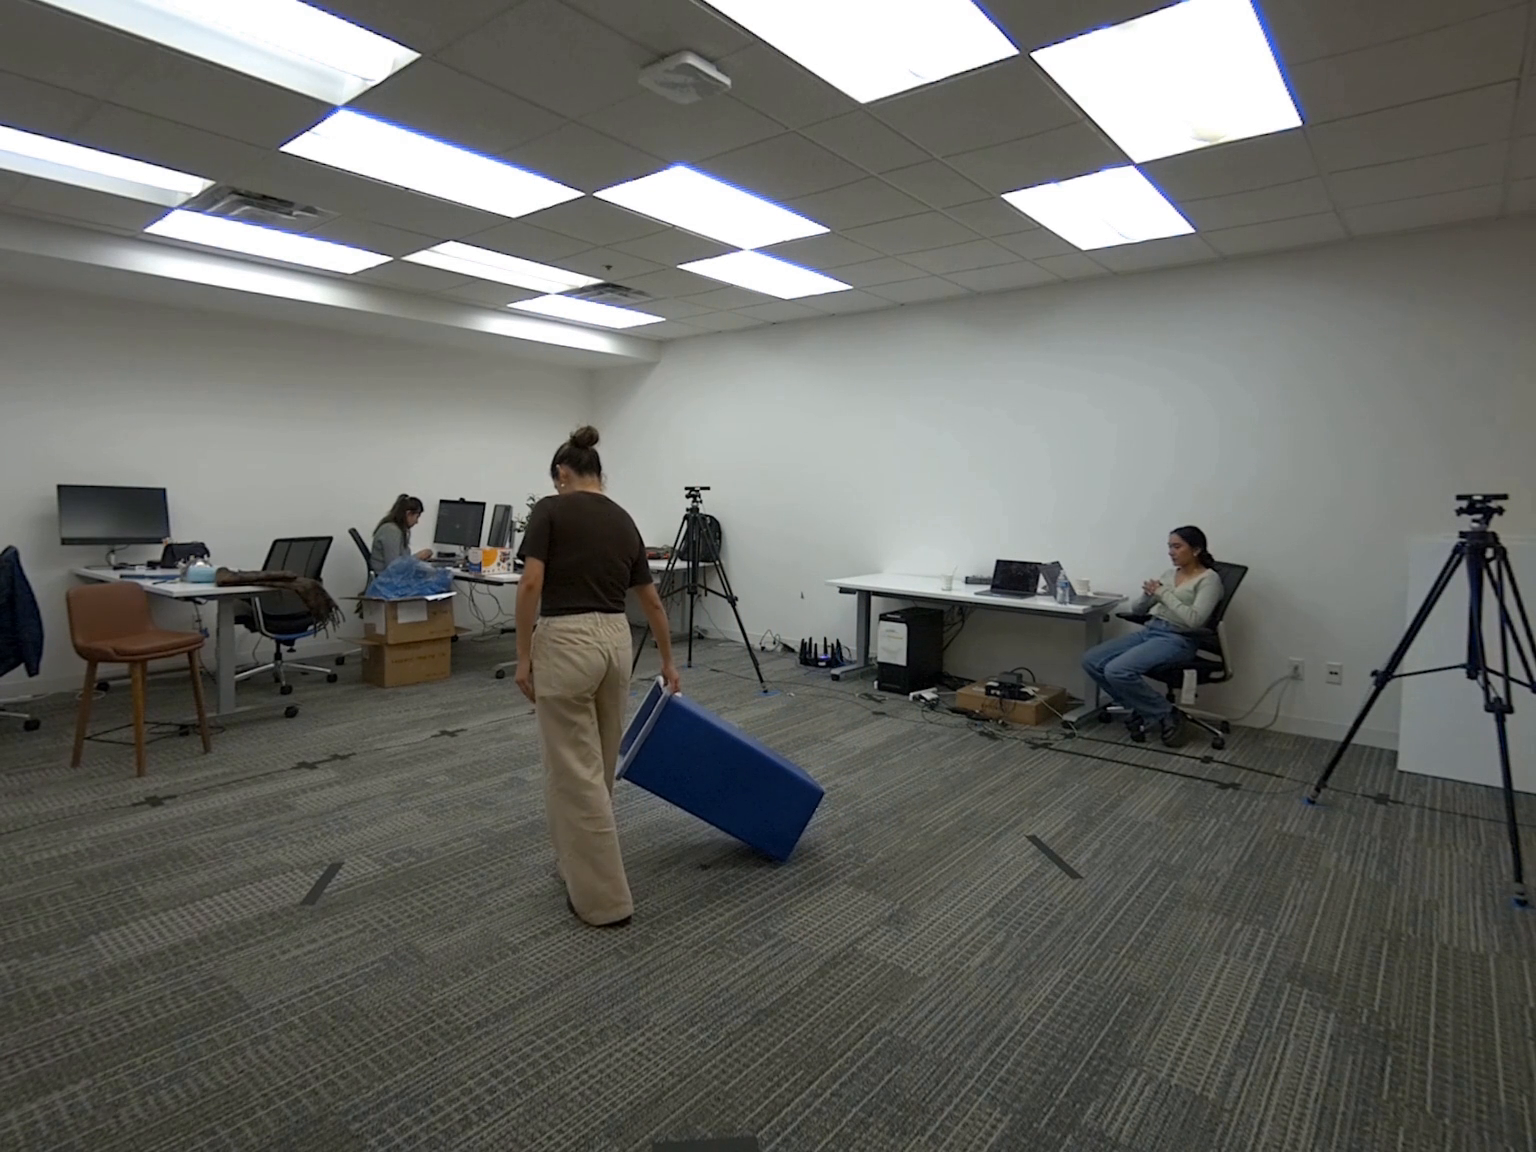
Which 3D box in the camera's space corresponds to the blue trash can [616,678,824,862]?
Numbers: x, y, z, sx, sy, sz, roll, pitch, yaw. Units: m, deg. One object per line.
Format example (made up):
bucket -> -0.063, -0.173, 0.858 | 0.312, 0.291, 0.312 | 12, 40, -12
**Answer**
blue trash can -> -0.206, 0.740, 3.232 | 0.706, 0.374, 0.381 | 33, -6, -8
